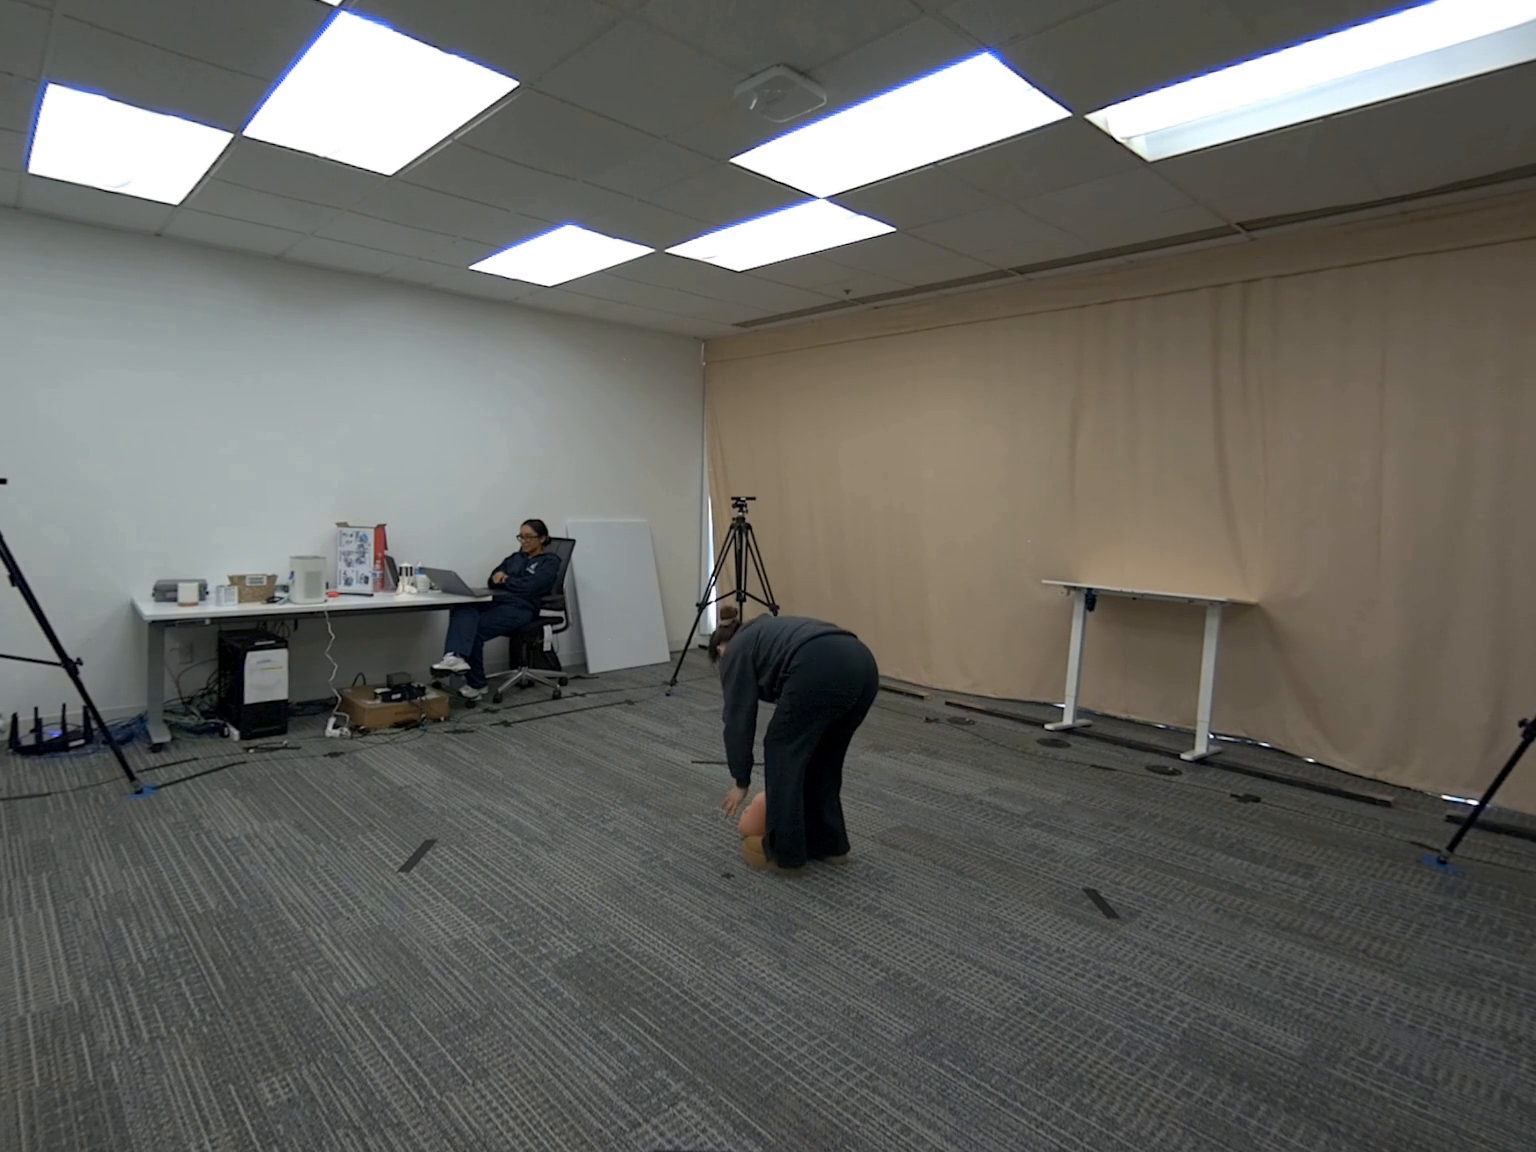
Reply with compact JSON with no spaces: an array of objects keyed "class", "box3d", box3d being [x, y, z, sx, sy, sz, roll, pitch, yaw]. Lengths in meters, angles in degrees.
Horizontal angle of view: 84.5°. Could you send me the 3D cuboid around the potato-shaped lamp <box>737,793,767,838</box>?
[{"class":"potato-shaped lamp","box3d":[-0.033,0.965,3.464,0.176,0.196,0.161,24,18,35]}]
